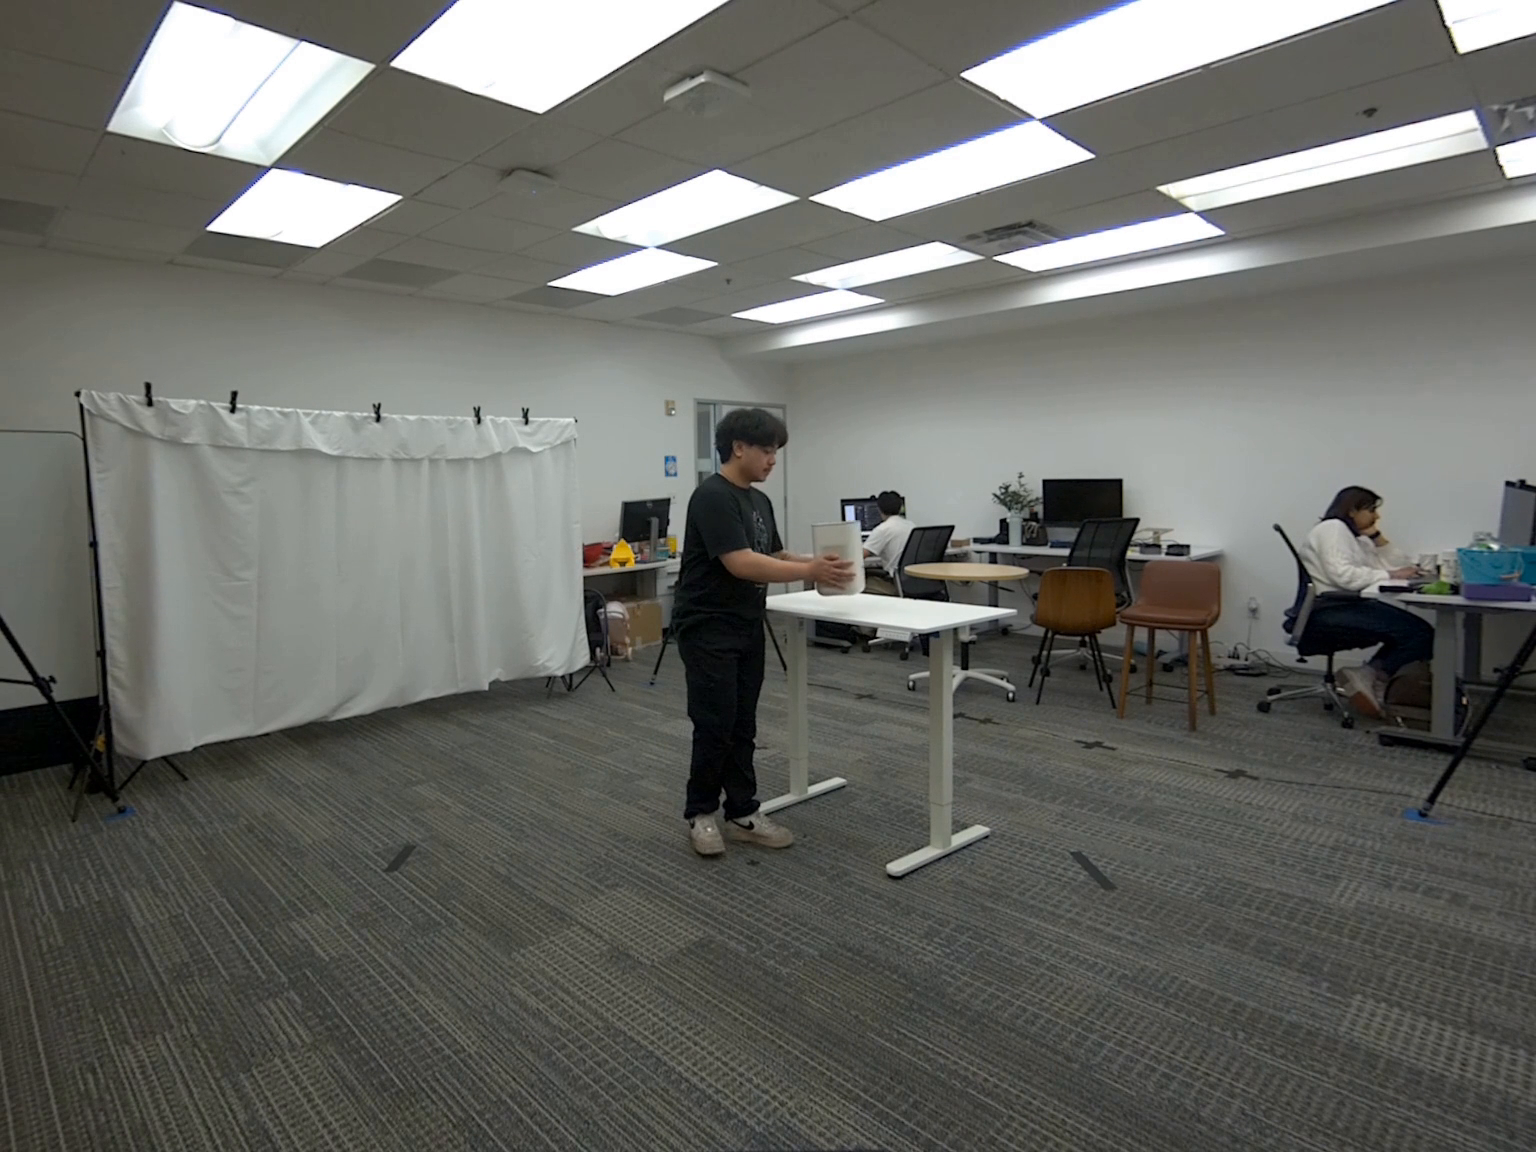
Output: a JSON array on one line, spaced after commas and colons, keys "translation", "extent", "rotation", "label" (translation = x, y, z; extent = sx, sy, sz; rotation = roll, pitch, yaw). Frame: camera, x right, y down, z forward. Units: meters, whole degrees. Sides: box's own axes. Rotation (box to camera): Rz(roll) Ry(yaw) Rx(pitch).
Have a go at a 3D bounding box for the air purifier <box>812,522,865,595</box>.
[{"translation": [0.259, -0.061, 3.155], "extent": [0.174, 0.265, 0.169], "rotation": [-5, 2, 16], "label": "air purifier"}]
